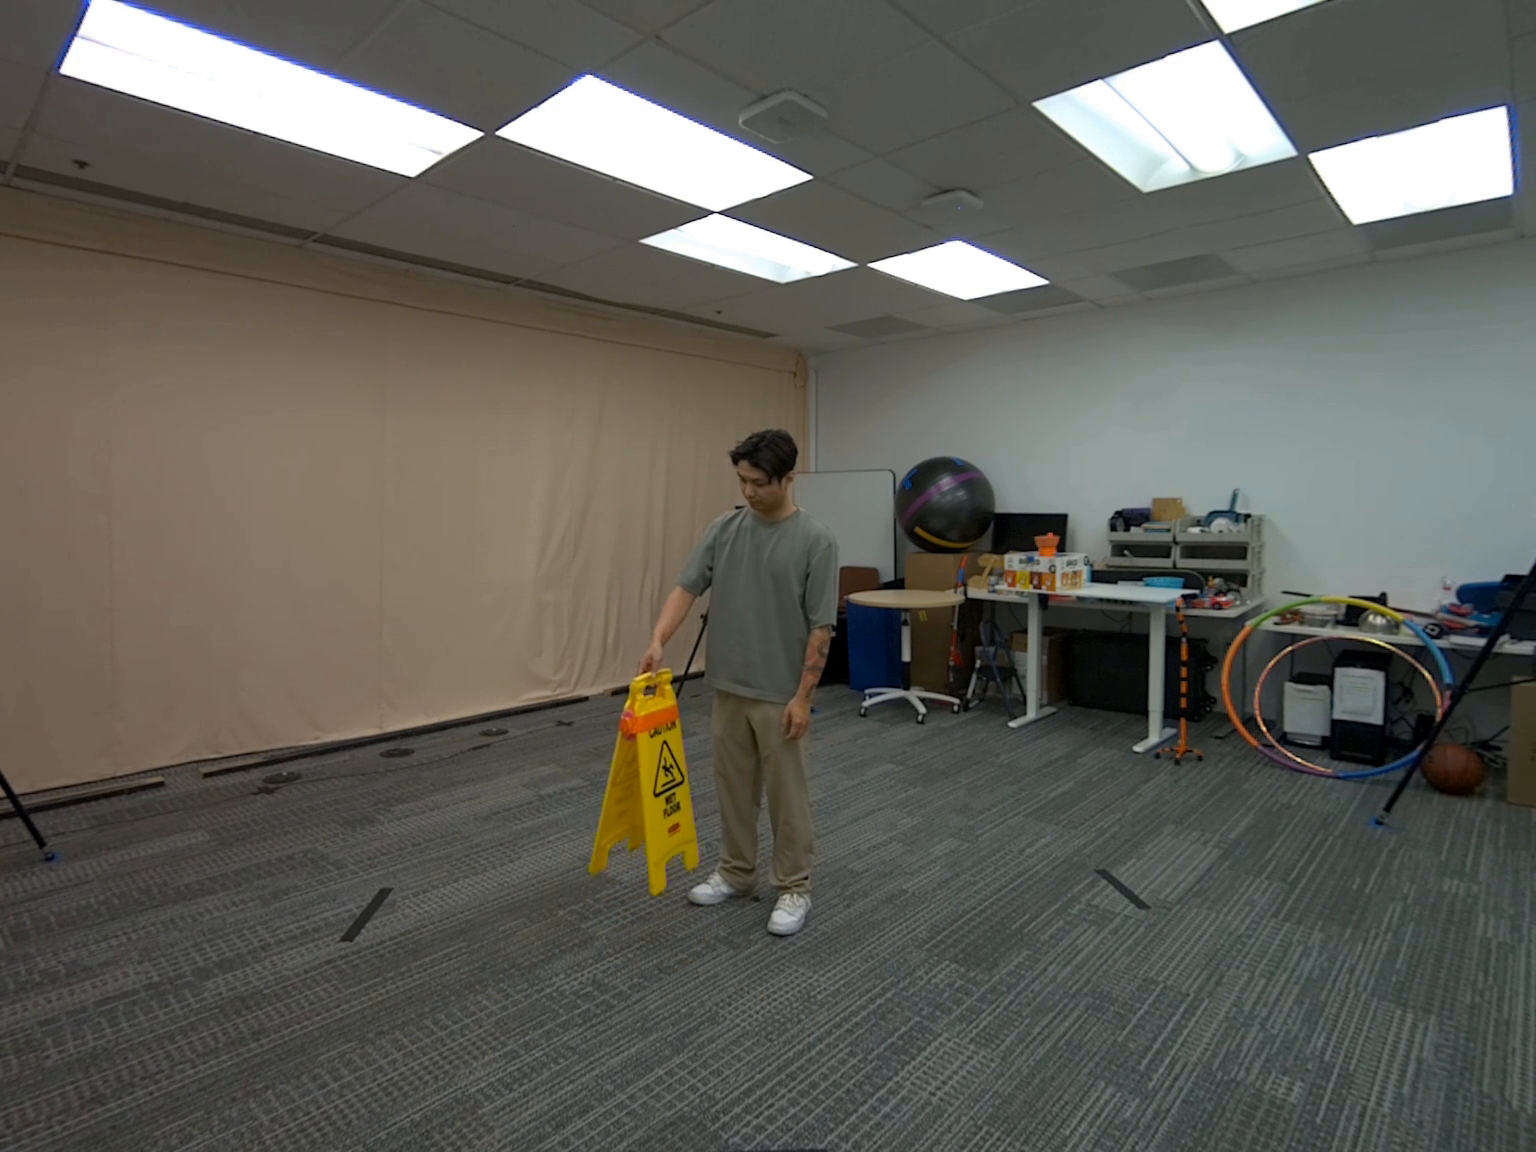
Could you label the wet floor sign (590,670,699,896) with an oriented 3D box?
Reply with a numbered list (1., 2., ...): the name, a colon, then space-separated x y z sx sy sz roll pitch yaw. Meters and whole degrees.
1. wet floor sign: -0.379 0.641 2.709 0.298 0.644 0.275 5 6 29
